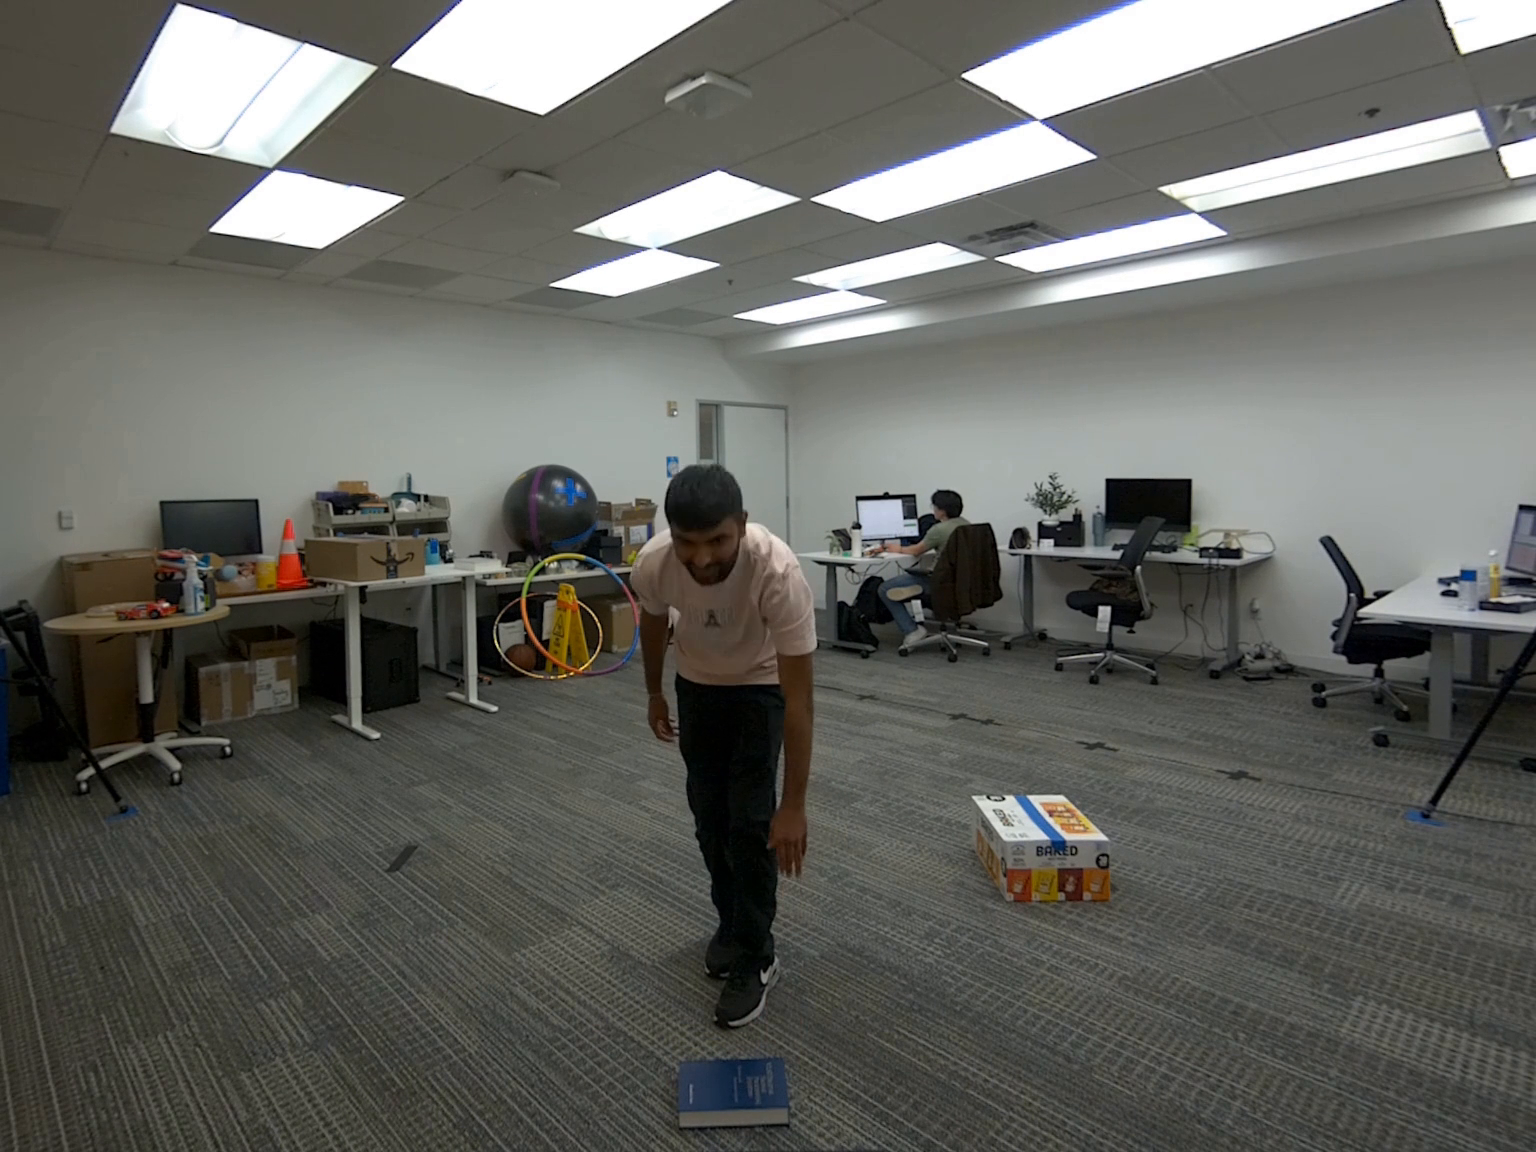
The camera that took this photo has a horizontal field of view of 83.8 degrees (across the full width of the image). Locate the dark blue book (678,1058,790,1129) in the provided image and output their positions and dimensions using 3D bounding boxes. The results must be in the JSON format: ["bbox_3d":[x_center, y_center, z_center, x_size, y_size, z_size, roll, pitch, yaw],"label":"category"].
[{"bbox_3d":[-0.075,1.165,1.923,0.245,0.045,0.164,-2,7,-2],"label":"dark blue book"}]
